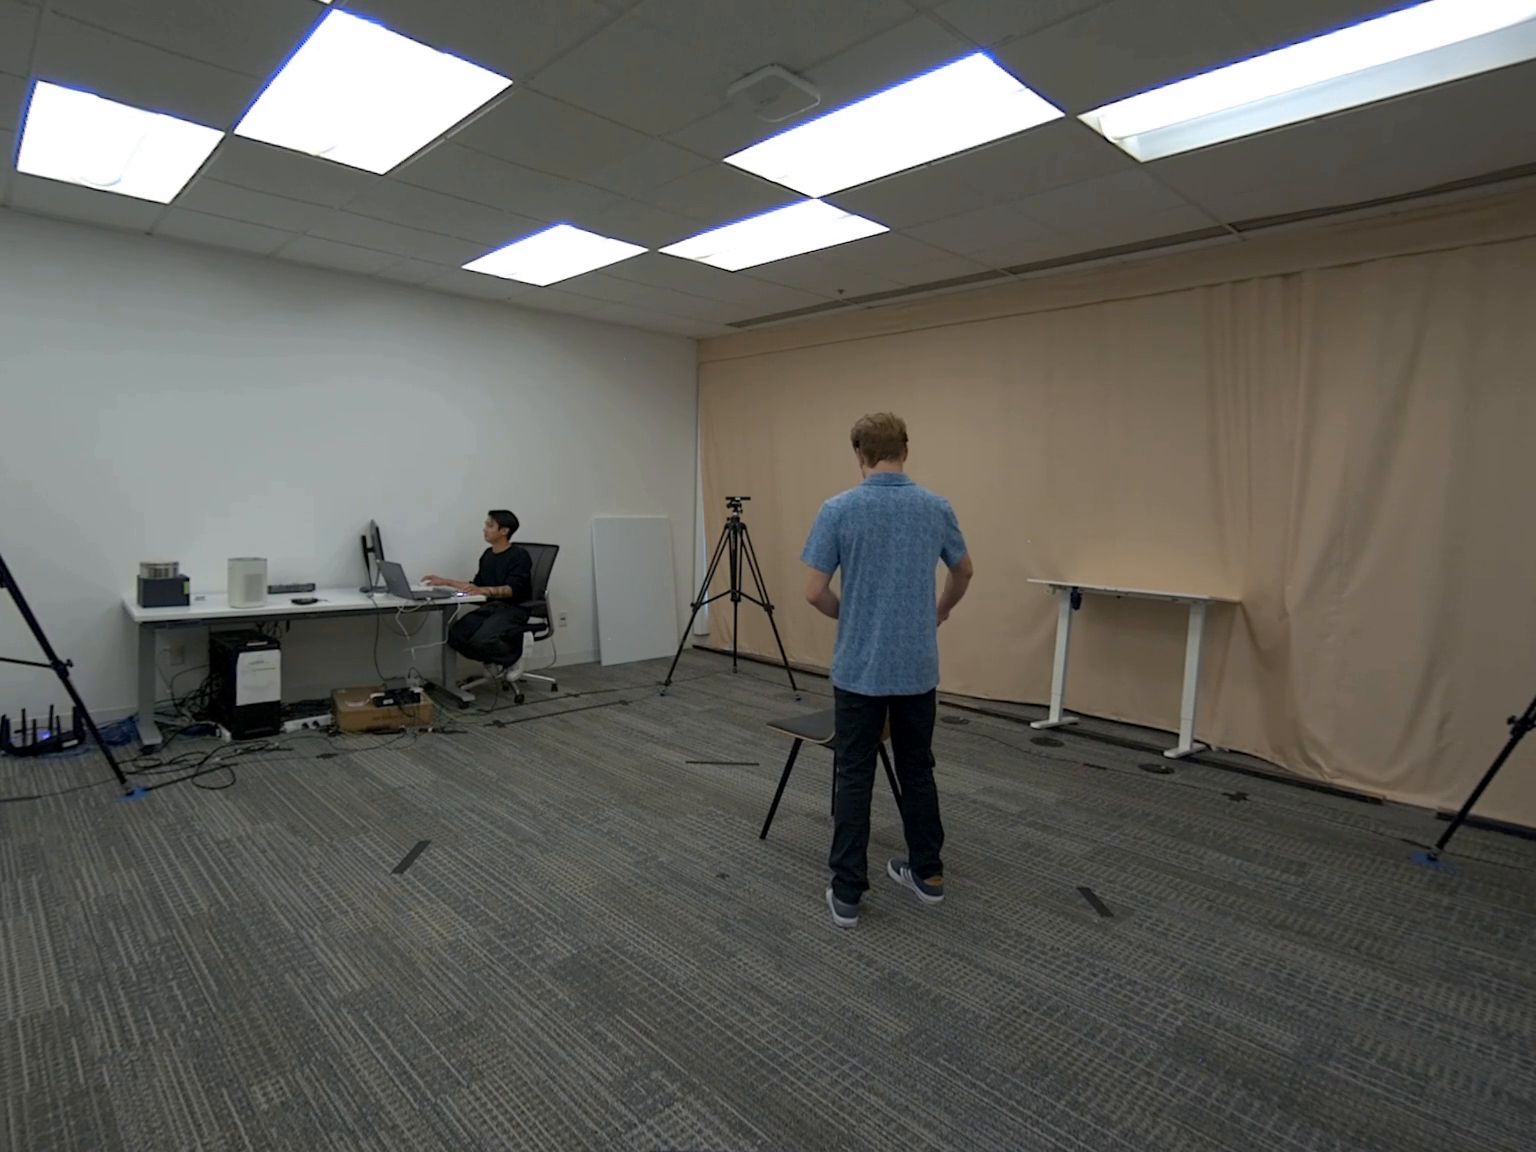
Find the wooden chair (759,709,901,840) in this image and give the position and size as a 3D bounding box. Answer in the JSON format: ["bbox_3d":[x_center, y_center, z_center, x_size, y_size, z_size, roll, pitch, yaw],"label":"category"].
[{"bbox_3d":[0.283,0.664,3.414,0.467,0.874,0.537,-1,8,-44],"label":"wooden chair"}]
